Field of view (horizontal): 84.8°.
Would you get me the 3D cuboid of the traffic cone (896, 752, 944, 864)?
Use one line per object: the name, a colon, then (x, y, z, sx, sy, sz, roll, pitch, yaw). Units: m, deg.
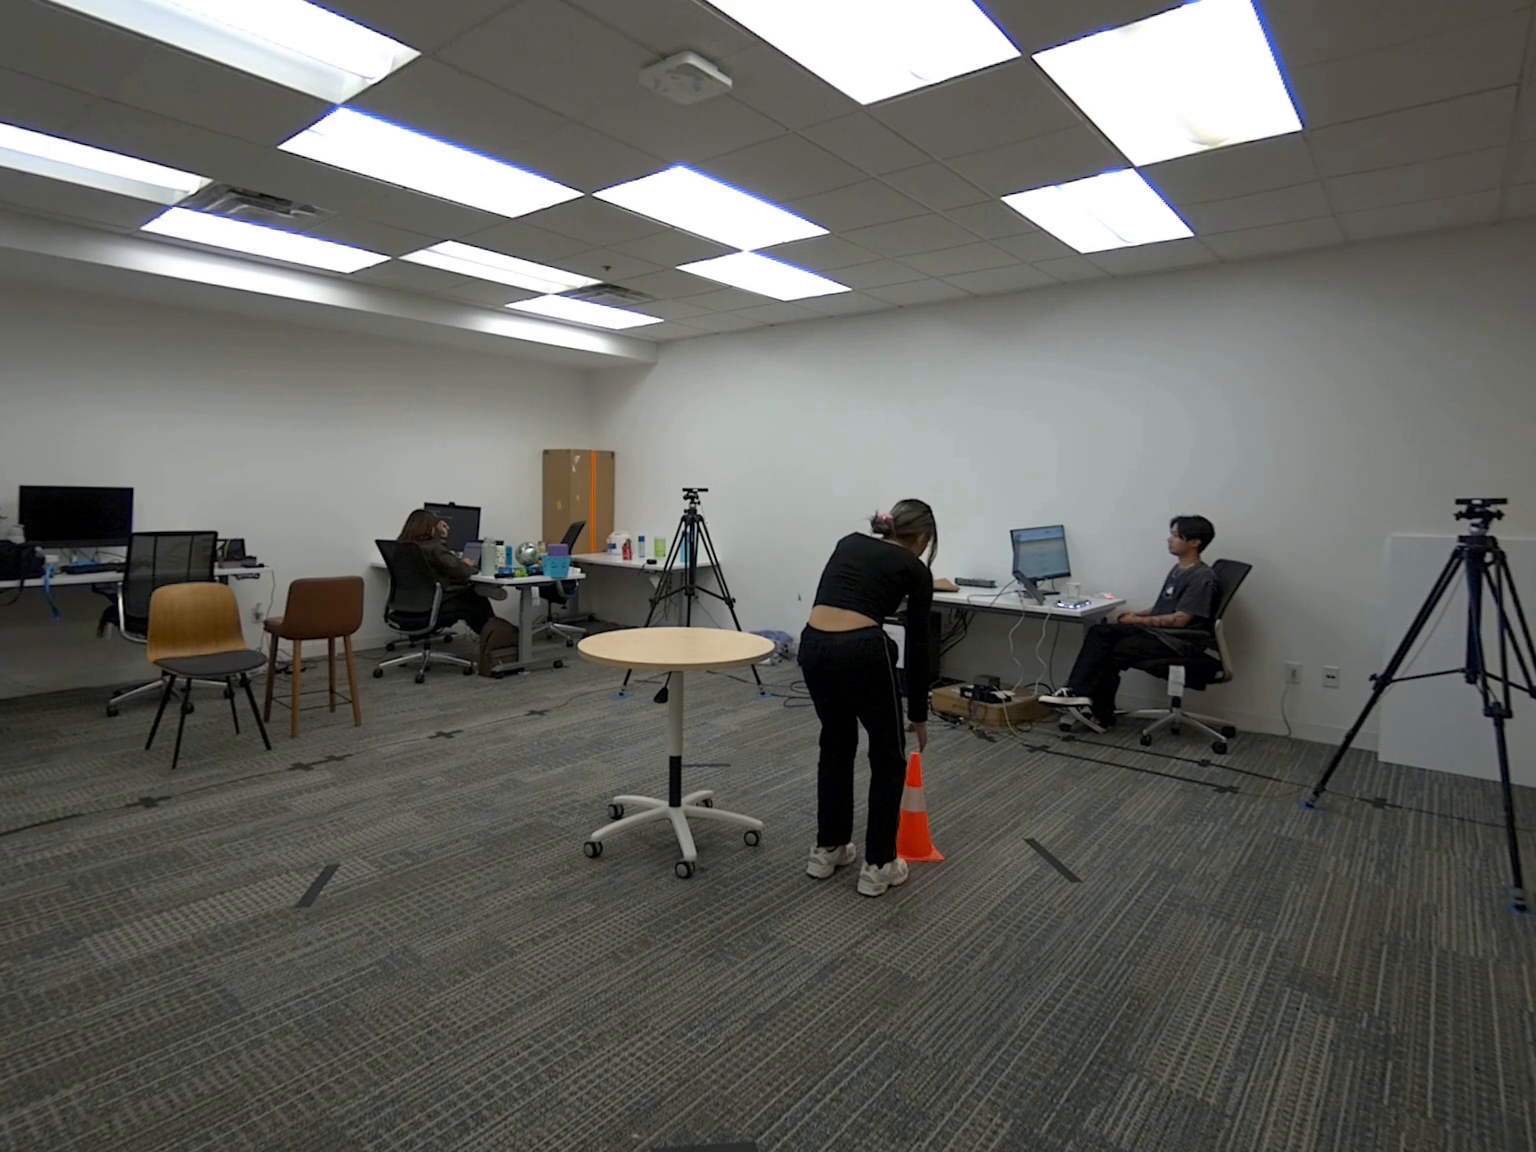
traffic cone: (0.551, 0.878, 3.324, 0.204, 0.383, 0.205, -1, 3, -6)
